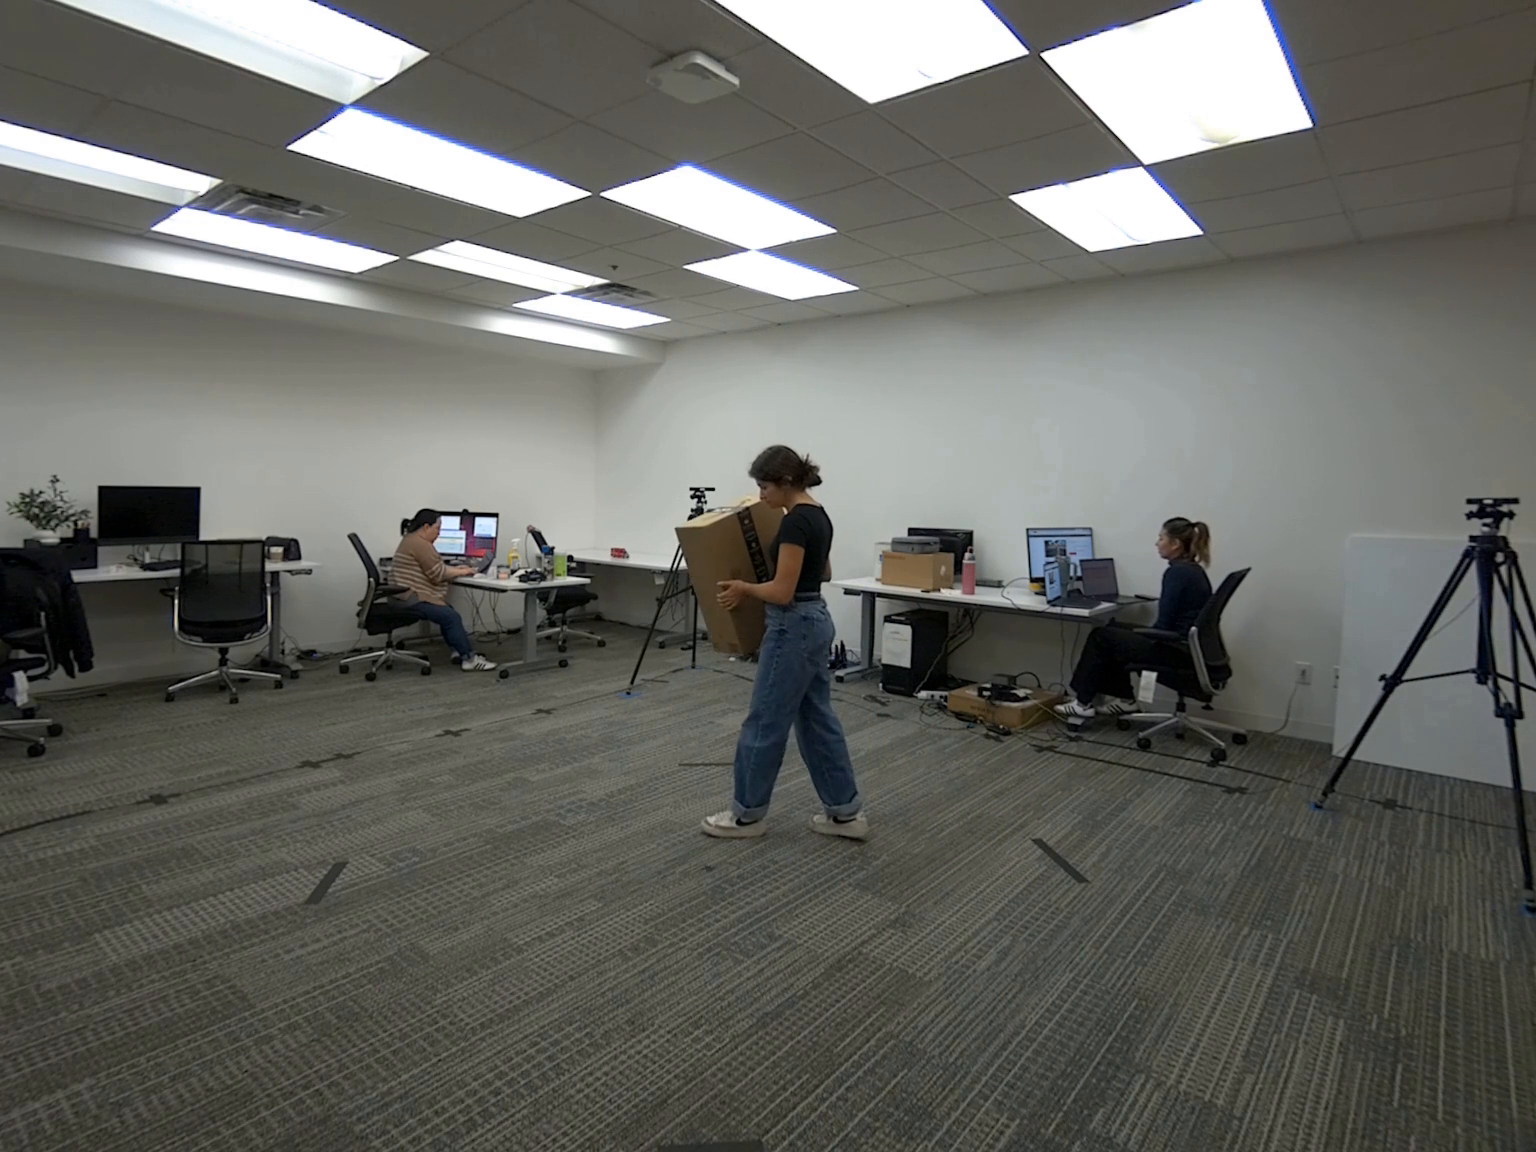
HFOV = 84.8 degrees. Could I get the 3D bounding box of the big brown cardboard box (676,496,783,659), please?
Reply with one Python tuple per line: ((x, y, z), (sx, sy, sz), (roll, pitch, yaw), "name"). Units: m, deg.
((-0.107, -0.025, 3.613), (0.411, 0.582, 0.240), (-24, 12, -33), "big brown cardboard box")
